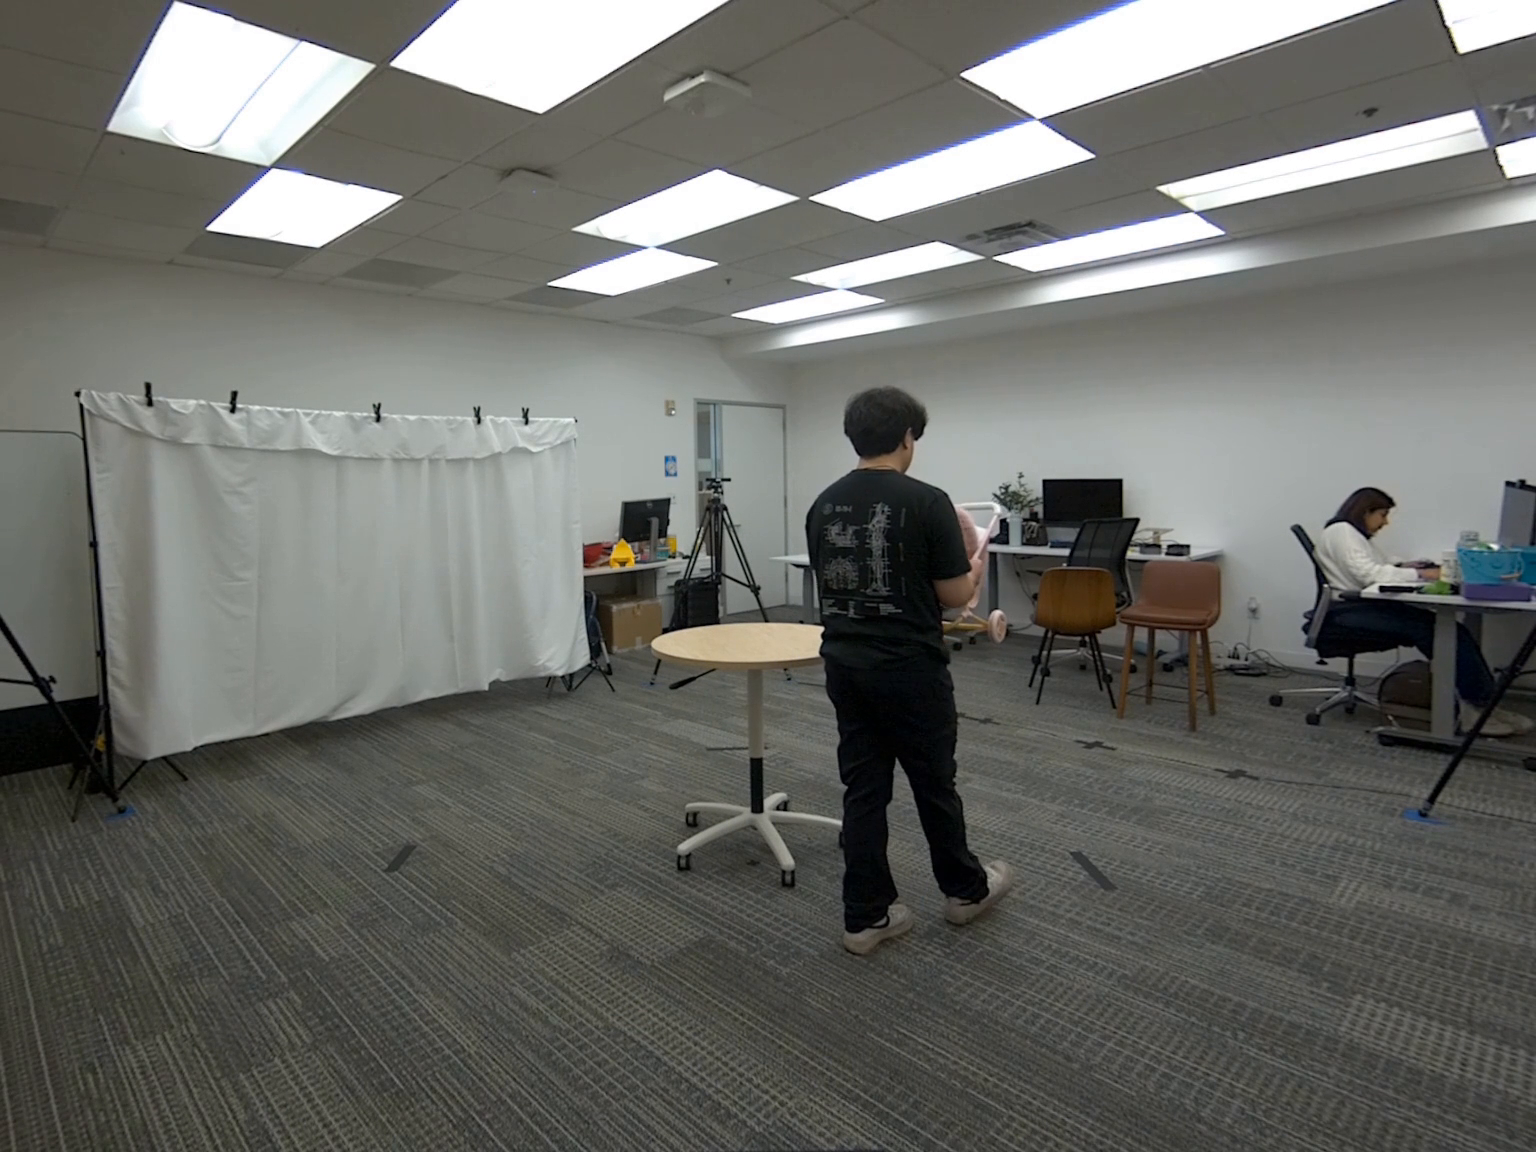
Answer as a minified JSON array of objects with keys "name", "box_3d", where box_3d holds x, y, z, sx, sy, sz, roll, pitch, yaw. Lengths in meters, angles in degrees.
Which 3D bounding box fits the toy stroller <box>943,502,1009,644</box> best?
[{"name":"toy stroller","box_3d":[0.605,0.003,2.835,0.330,0.537,0.290,8,-5,-44]}]
